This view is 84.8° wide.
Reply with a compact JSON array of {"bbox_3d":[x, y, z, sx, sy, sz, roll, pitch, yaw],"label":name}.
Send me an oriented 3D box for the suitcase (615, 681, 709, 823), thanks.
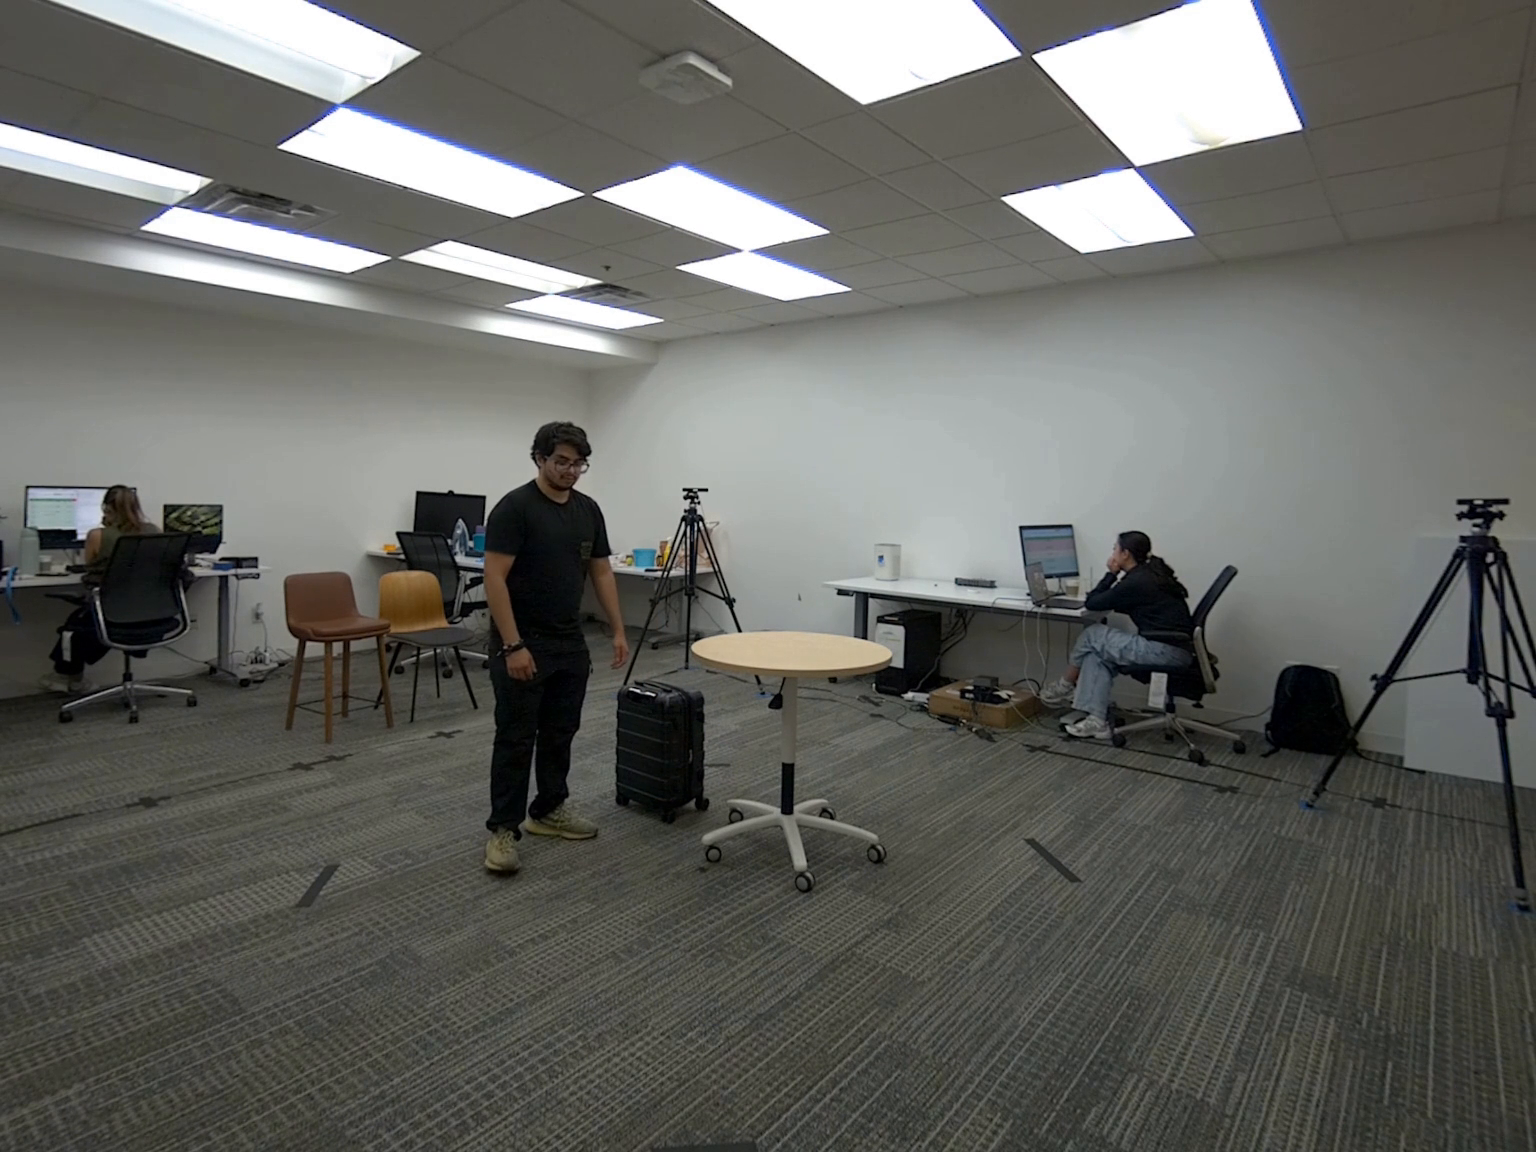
[{"bbox_3d":[-0.482,0.730,3.699,0.388,0.547,0.241,3,5,41],"label":"suitcase"}]
